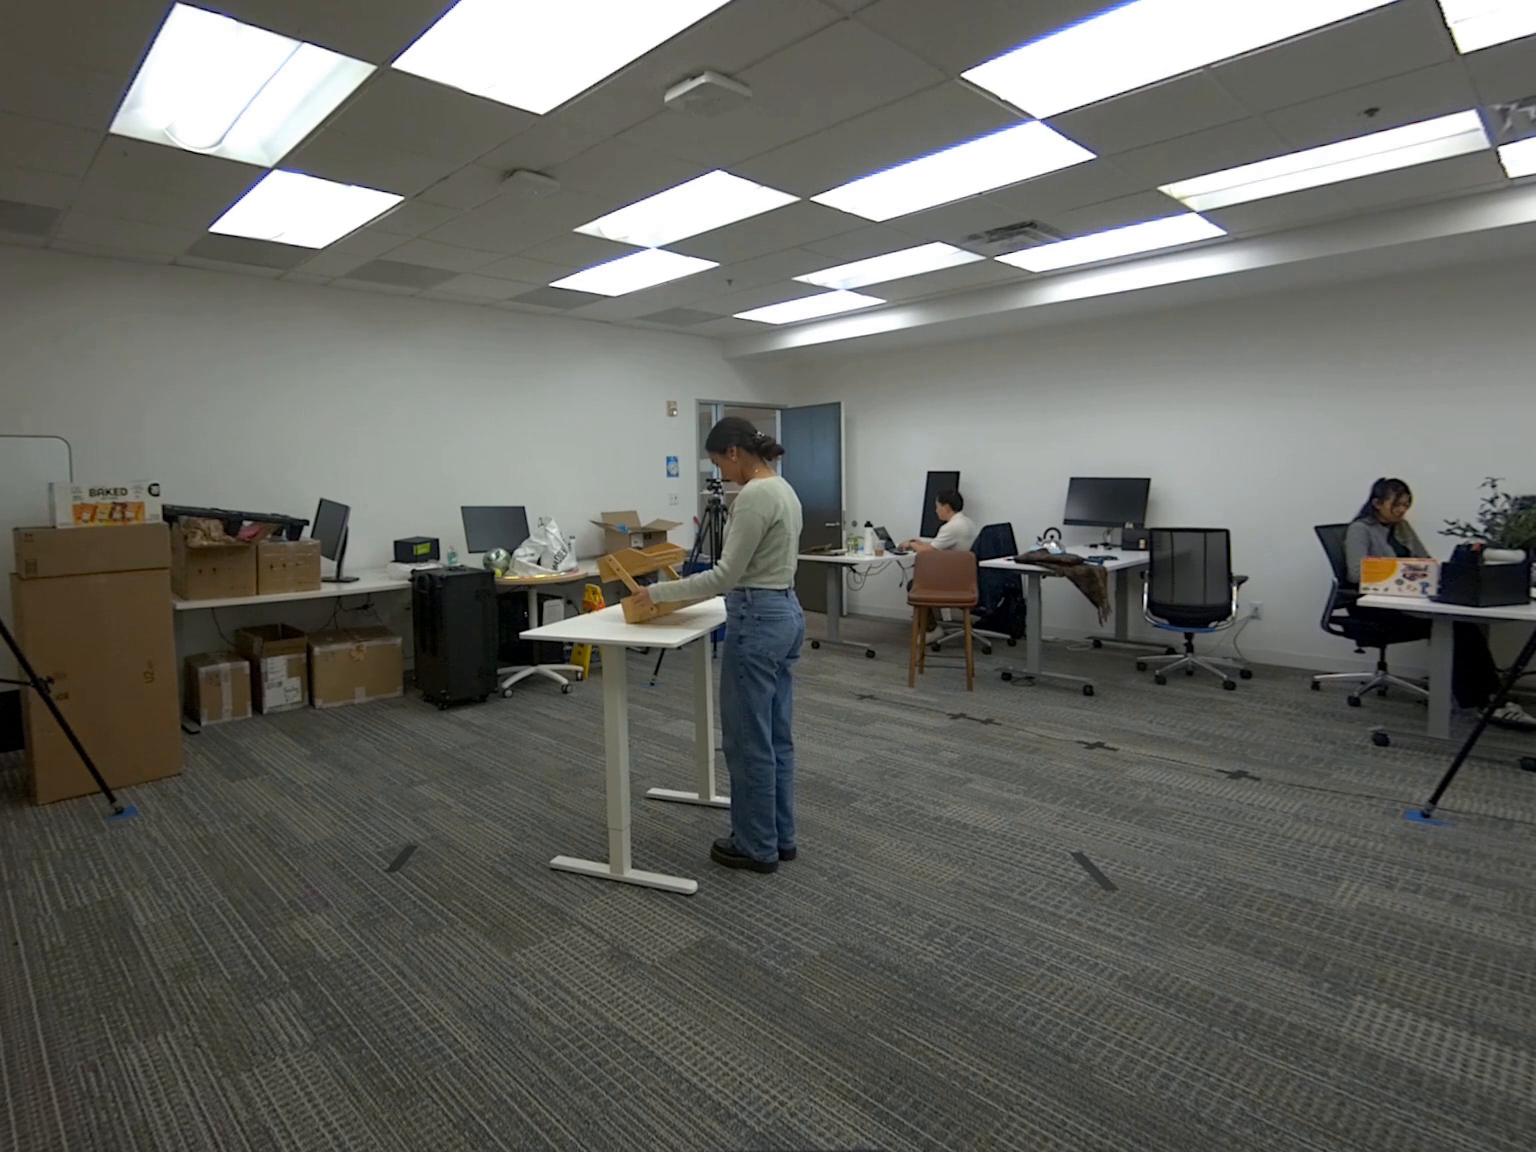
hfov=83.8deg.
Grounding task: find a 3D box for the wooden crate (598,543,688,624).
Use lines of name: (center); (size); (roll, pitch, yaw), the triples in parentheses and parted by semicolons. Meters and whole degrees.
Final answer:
wooden crate: (-0.402, 0.003, 3.203); (0.306, 0.274, 0.319); (-17, -1, 23)
